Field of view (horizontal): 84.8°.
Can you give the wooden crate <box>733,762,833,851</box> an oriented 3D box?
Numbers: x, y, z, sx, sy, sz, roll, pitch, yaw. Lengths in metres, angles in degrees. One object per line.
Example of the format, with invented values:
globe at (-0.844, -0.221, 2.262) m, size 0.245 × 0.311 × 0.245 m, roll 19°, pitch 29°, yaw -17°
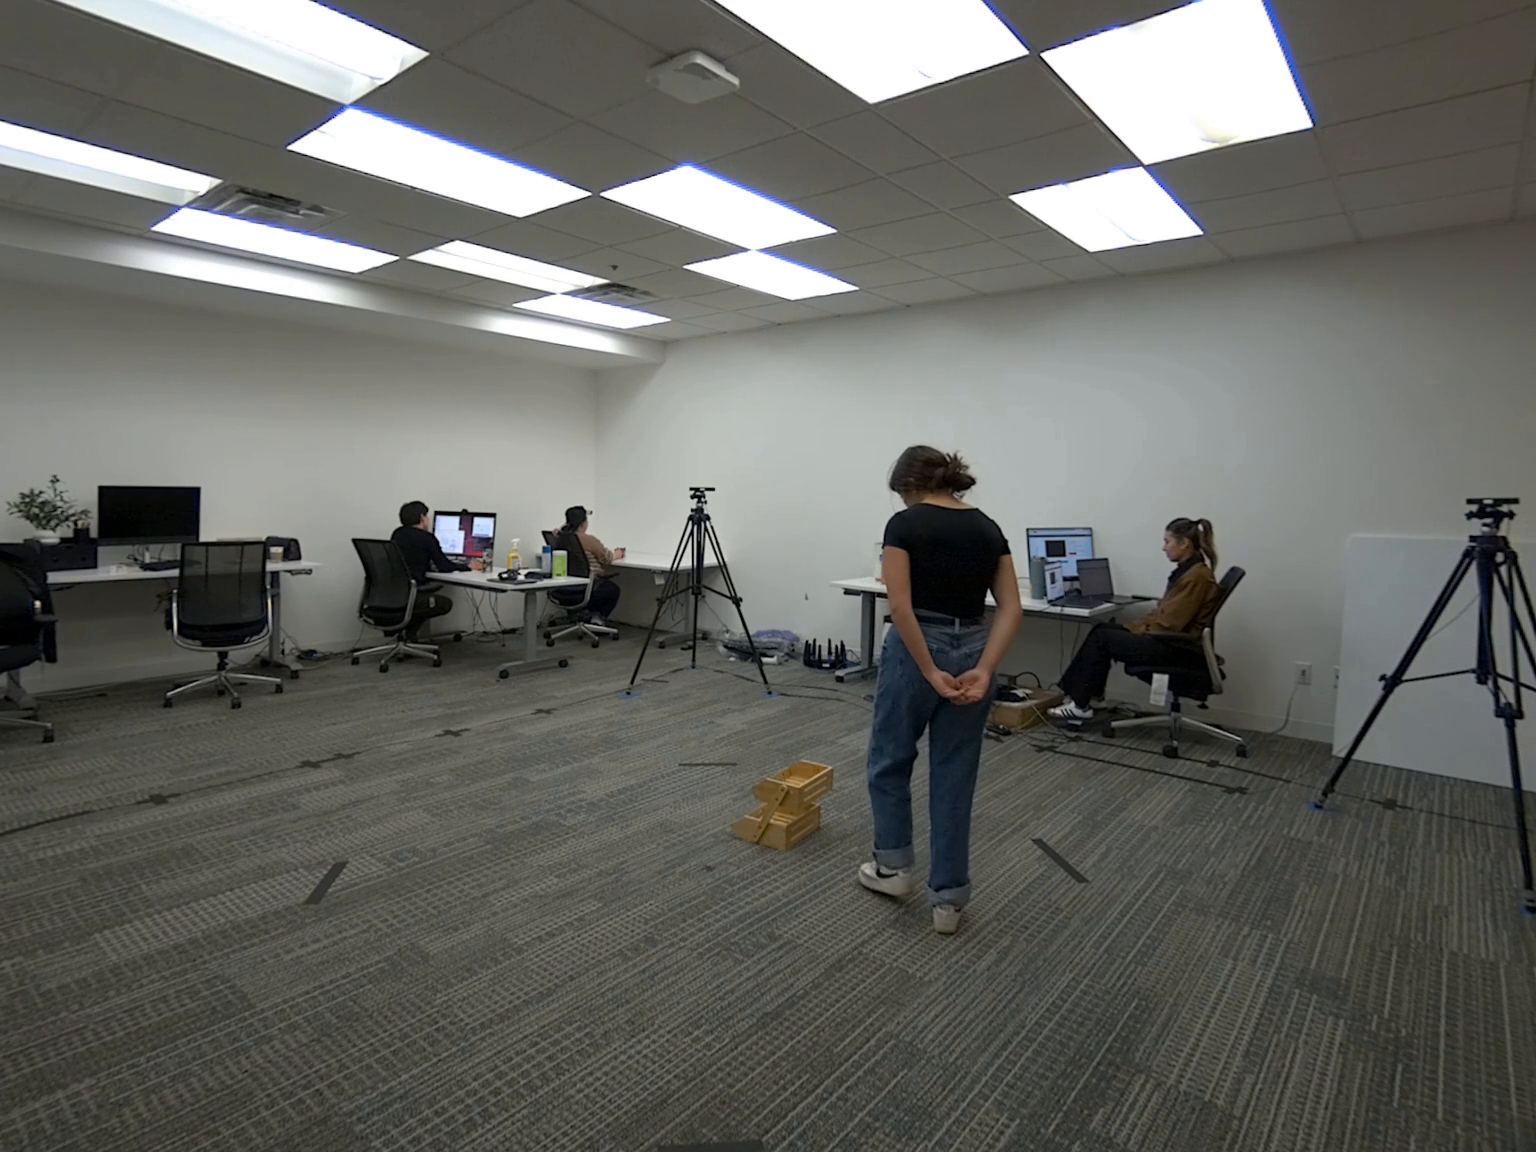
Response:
wooden crate at (0.051, 0.906, 3.449) m, size 0.311 × 0.272 × 0.316 m, roll 5°, pitch 6°, yaw 31°
